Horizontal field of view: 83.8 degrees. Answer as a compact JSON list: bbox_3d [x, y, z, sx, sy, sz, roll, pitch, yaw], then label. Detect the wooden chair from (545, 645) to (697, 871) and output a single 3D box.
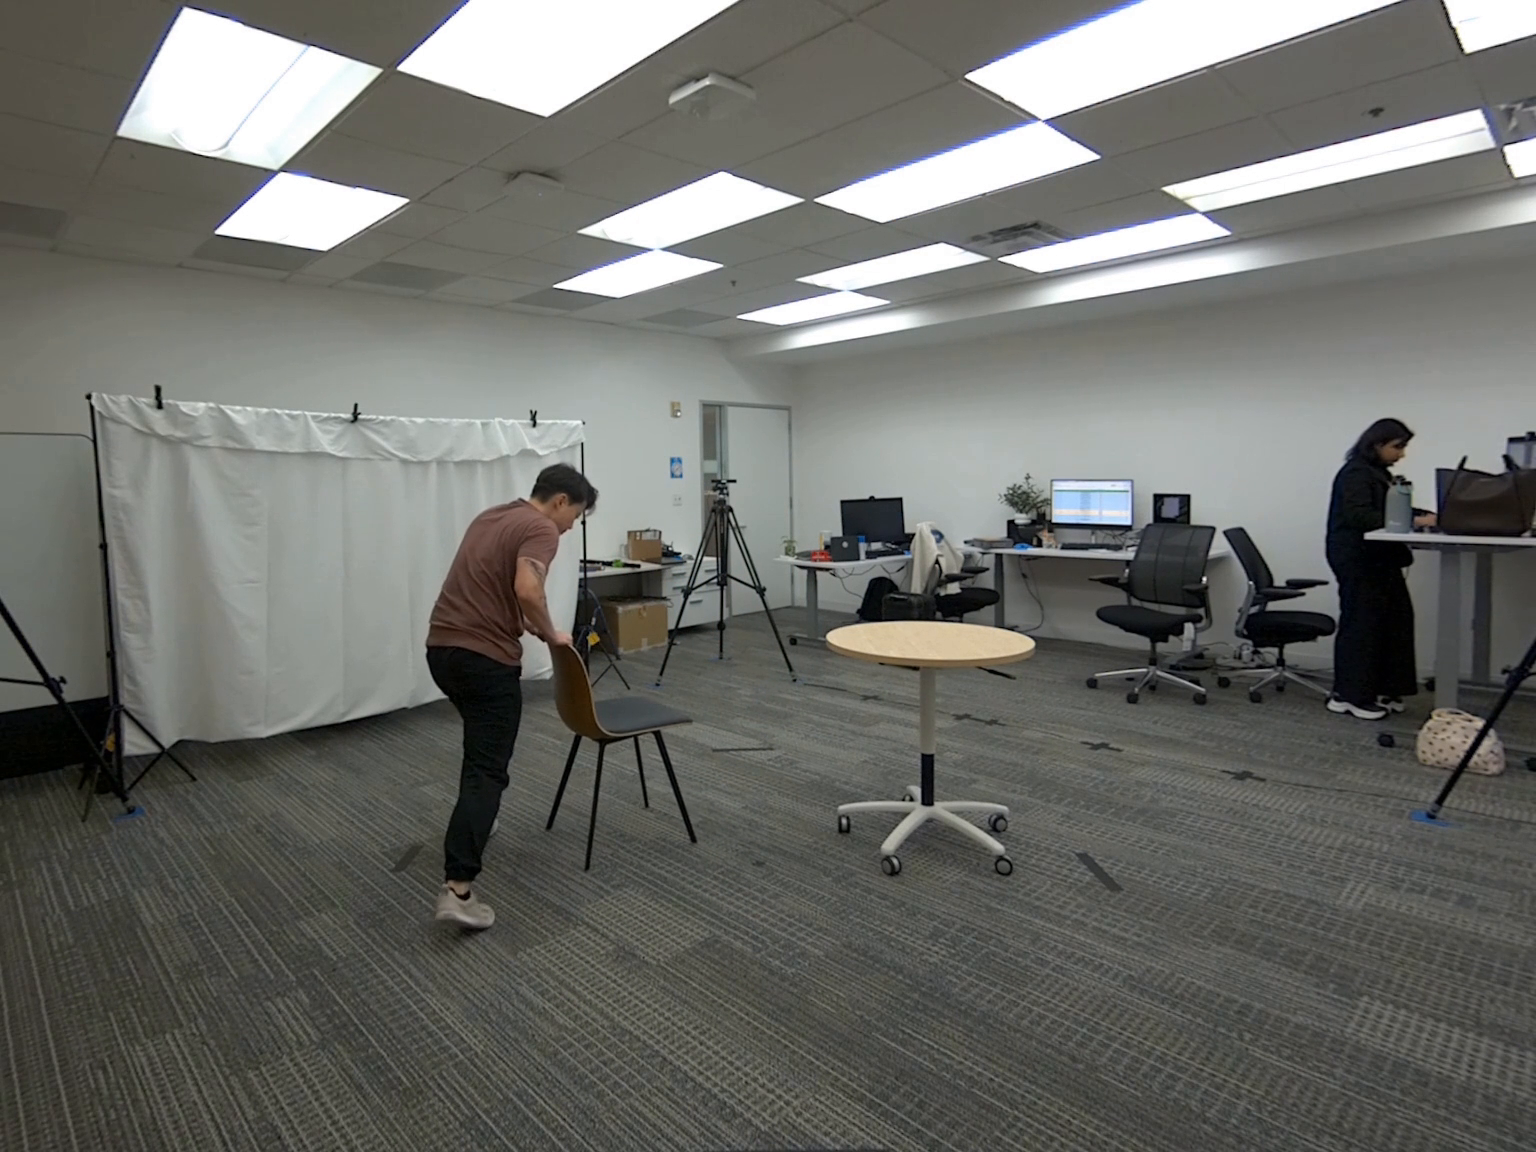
[{"bbox_3d":[-0.585,0.602,3.350,0.512,0.873,0.491,-8,6,-31],"label":"wooden chair"}]
